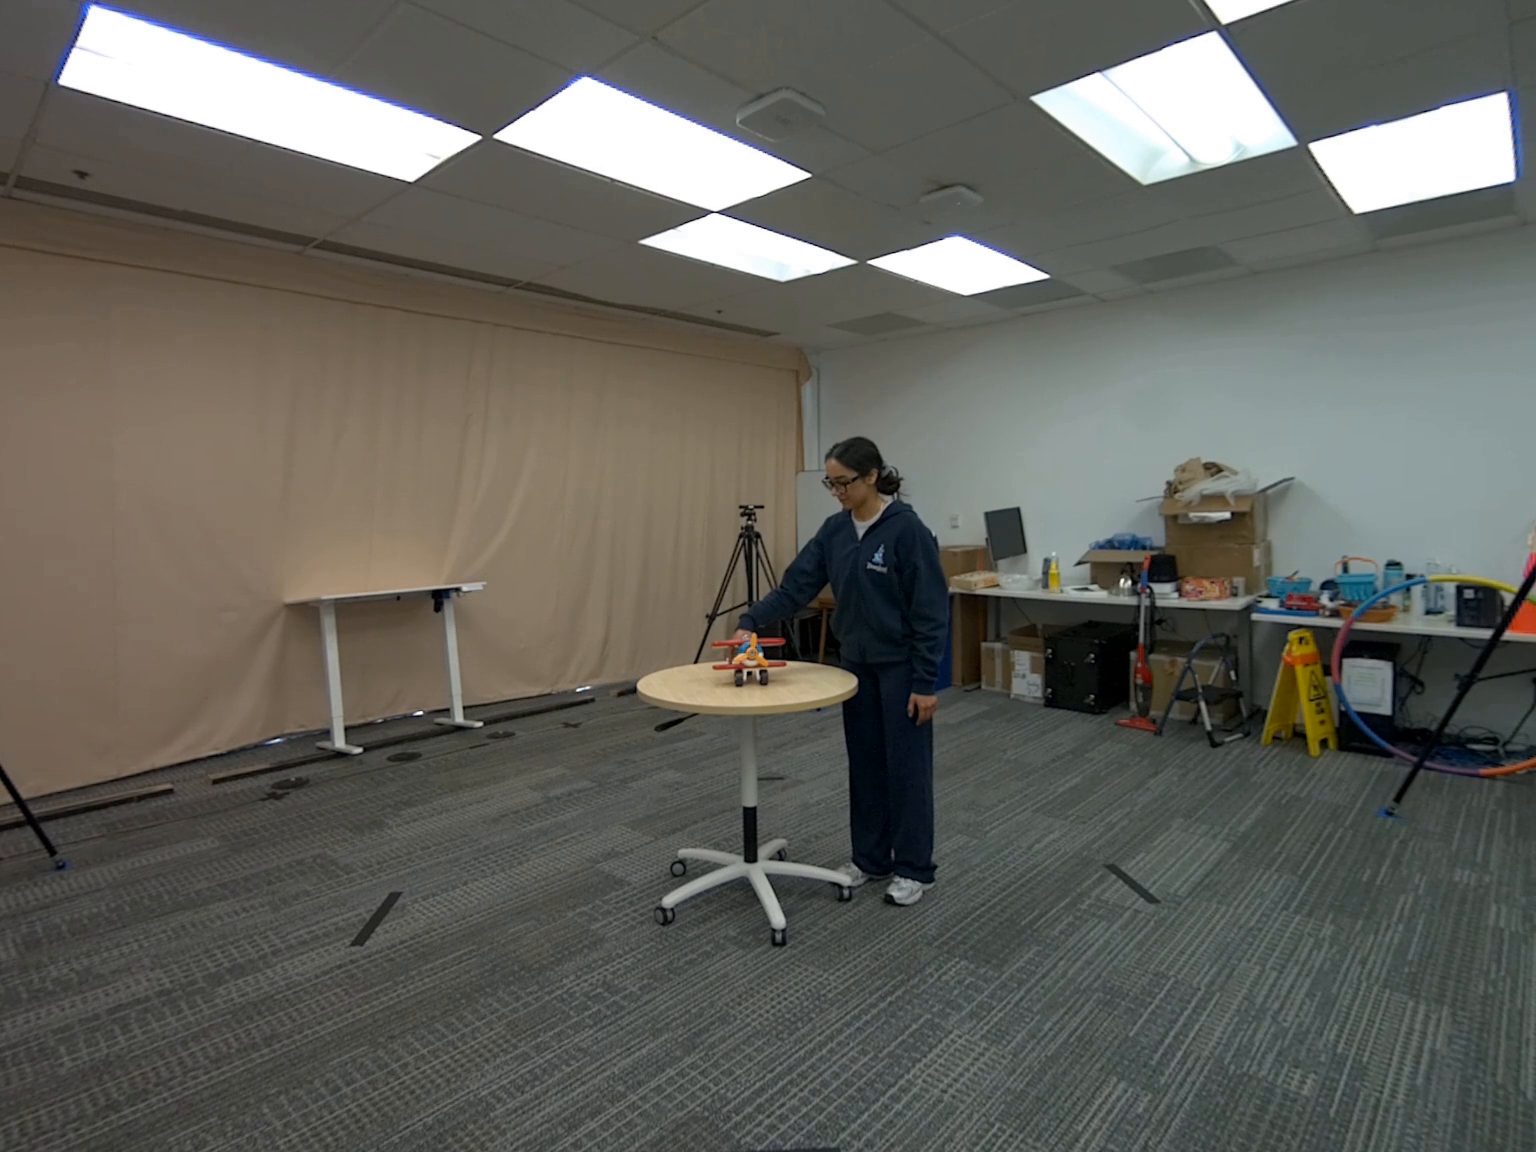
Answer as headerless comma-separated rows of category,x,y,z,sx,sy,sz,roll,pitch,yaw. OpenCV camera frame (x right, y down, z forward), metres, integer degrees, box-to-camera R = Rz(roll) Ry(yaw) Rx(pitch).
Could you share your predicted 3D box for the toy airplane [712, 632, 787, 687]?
toy airplane,-0.081,0.294,2.927,0.244,0.156,0.267,-5,6,-33
